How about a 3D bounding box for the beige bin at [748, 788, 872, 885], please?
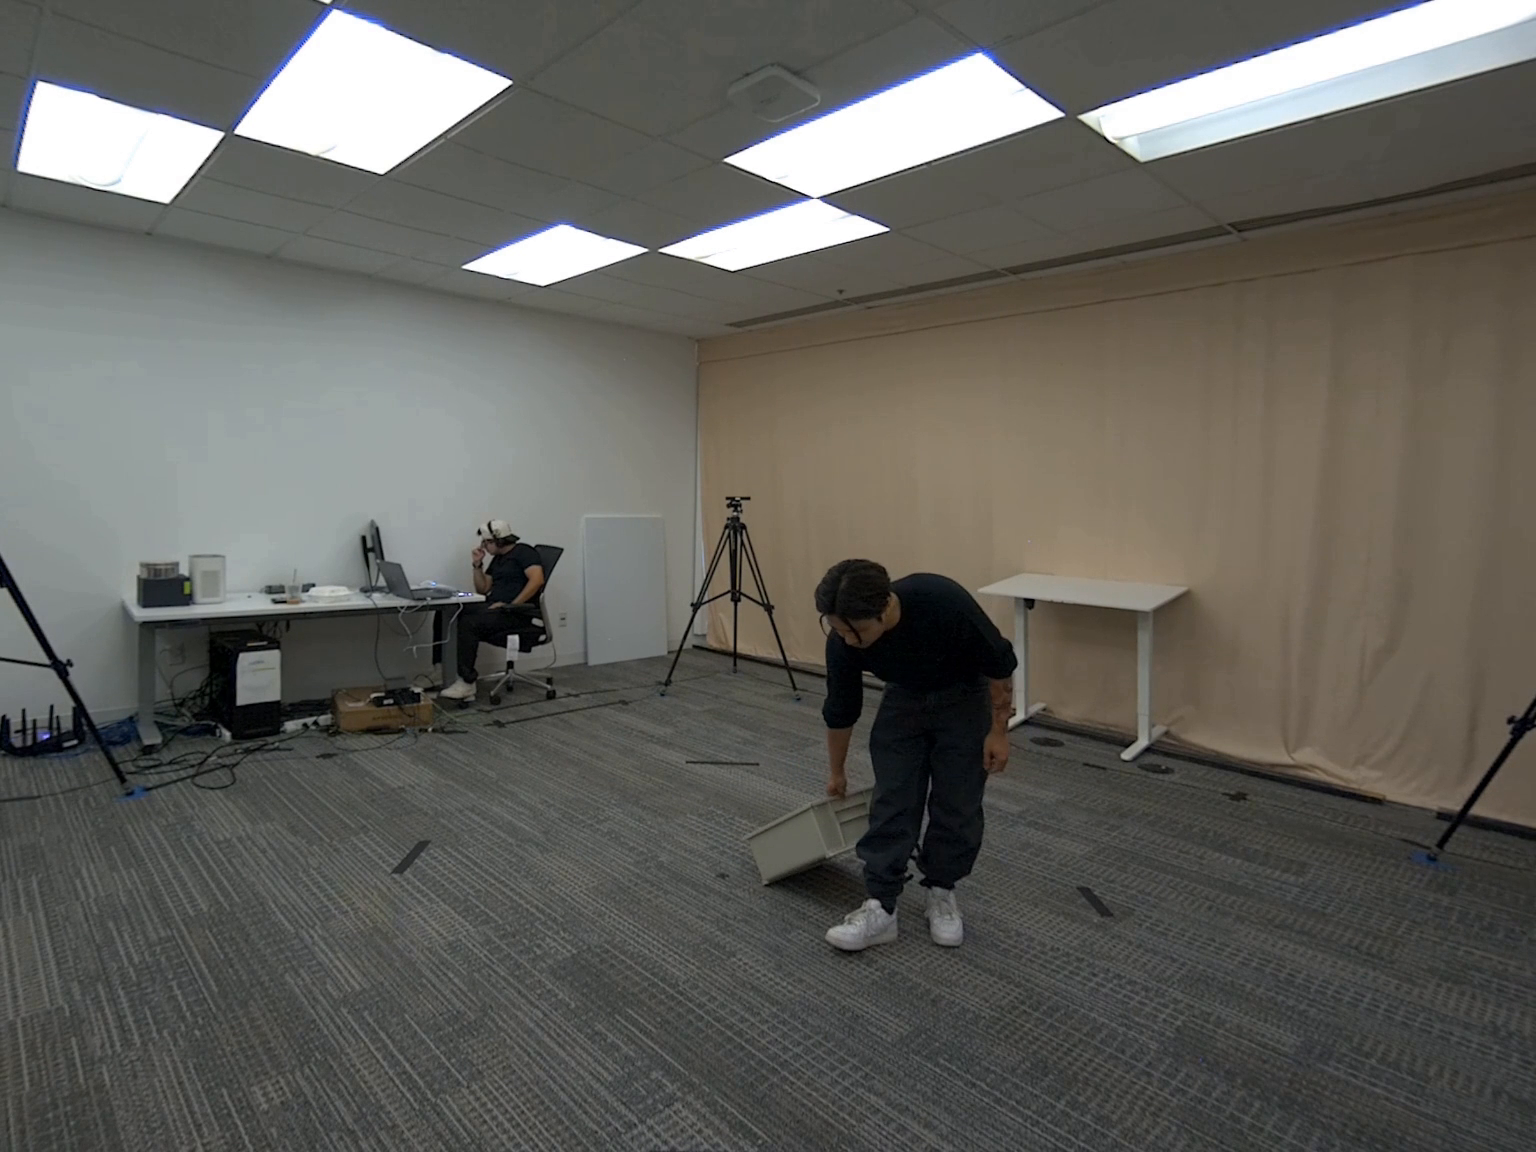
[{"bbox_3d":[0.189,0.928,3.037,0.369,0.192,0.423,-4,-26,-41],"label":"beige bin"}]
